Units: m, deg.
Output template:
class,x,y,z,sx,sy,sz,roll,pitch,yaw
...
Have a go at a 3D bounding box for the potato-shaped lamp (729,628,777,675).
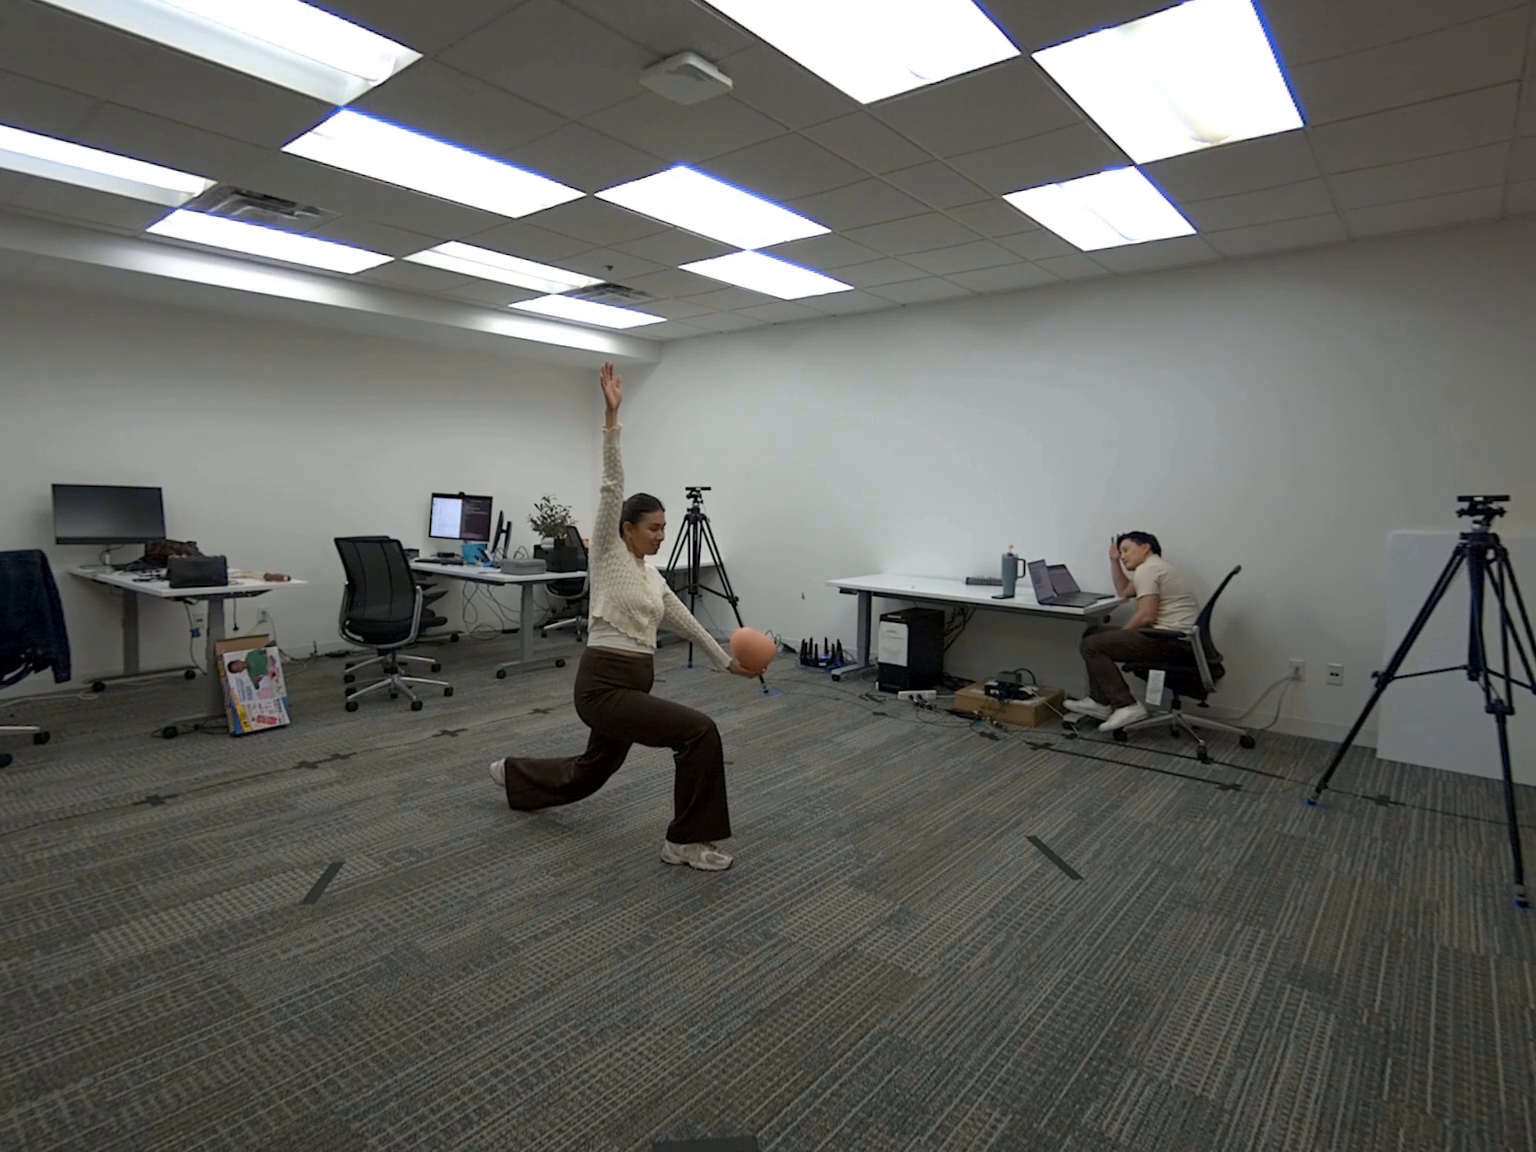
class,x,y,z,sx,sy,sz,roll,pitch,yaw
potato-shaped lamp,-0.084,0.307,3.664,0.196,0.165,0.173,41,16,-9
